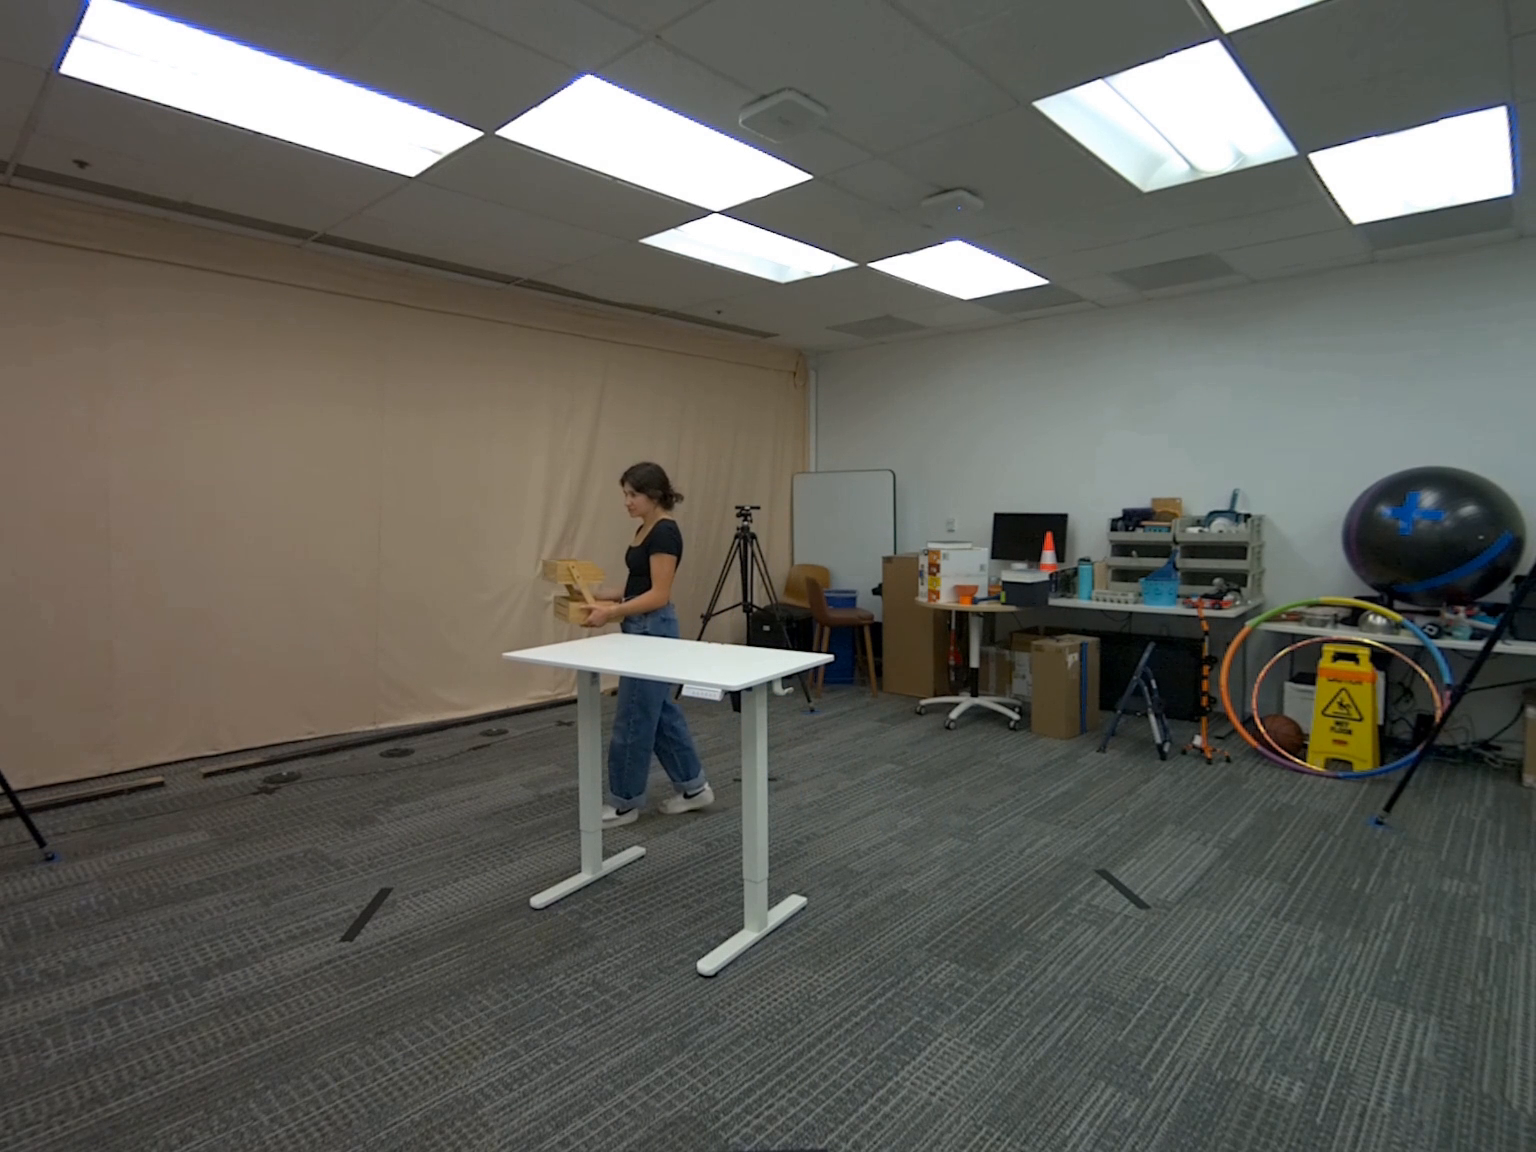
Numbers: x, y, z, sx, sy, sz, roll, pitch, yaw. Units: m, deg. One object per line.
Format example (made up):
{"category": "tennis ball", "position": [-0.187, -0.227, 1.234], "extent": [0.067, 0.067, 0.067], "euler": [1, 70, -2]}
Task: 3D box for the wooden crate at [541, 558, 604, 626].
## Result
{"category": "wooden crate", "position": [-0.795, 0.059, 3.674], "extent": [0.295, 0.273, 0.333], "euler": [-1, 3, -26]}
